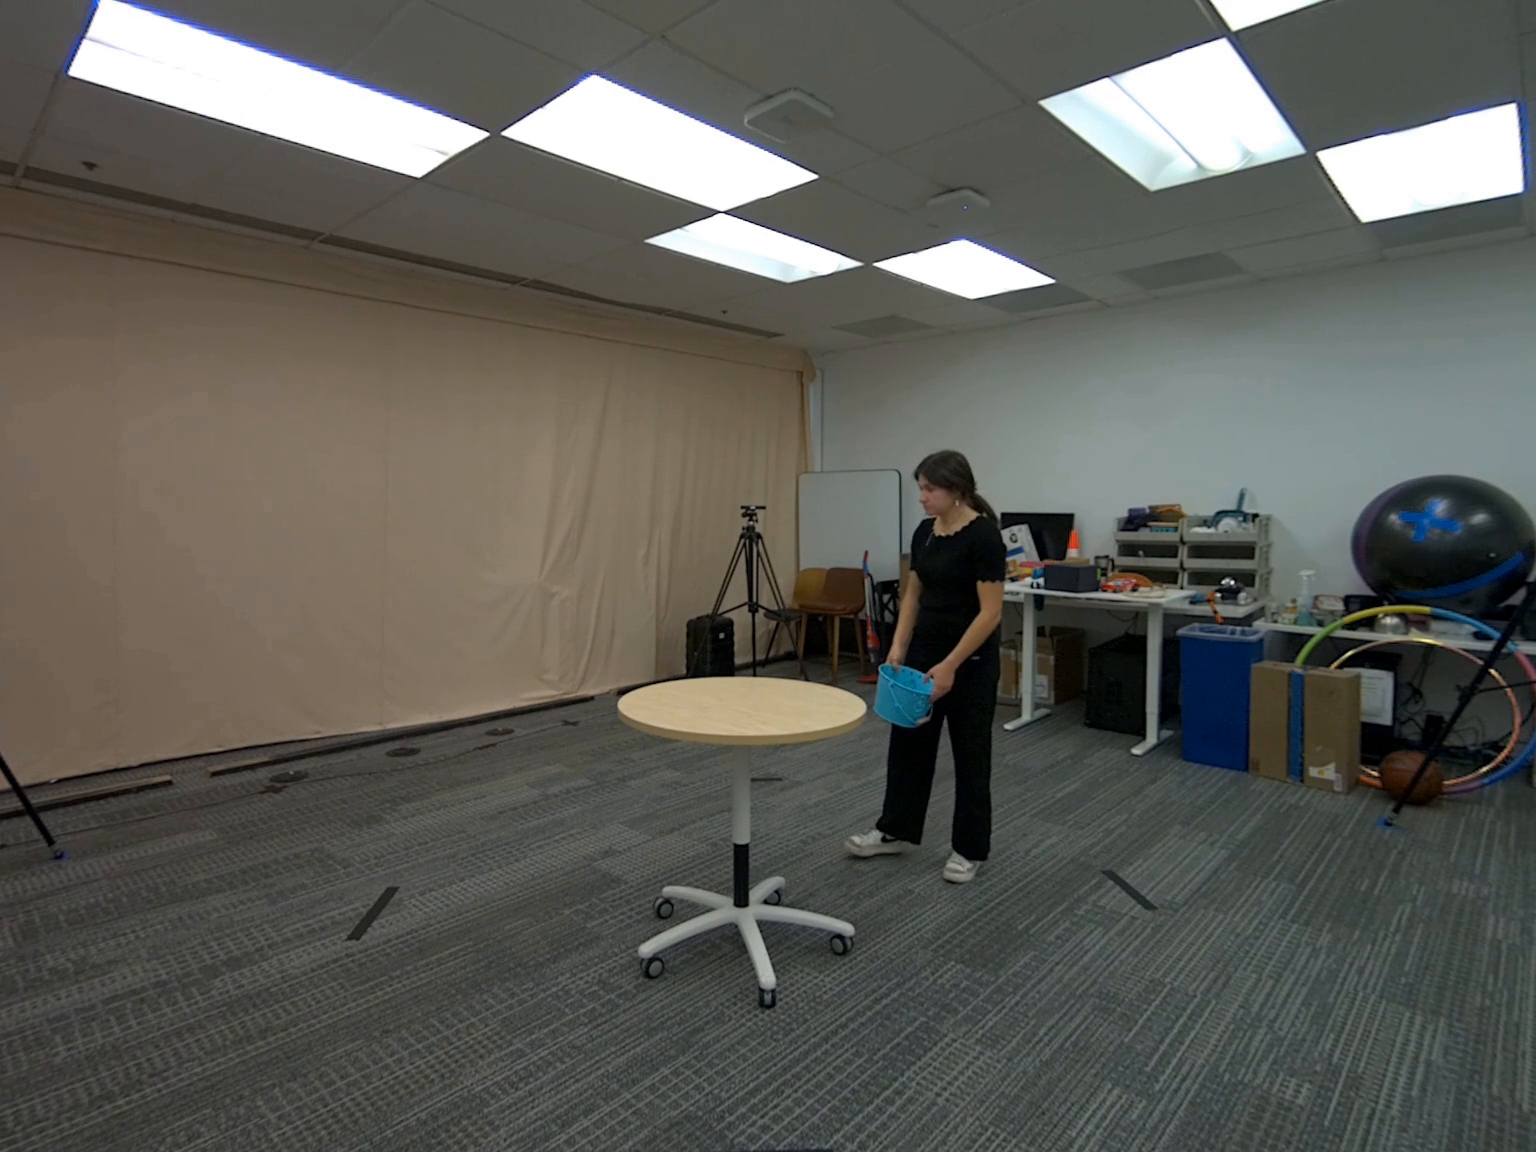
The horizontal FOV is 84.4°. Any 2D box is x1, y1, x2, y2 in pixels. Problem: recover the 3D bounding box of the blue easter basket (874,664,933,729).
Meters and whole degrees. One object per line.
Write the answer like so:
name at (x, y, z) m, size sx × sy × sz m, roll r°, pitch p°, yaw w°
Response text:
blue easter basket at (0.515, 0.450, 3.114) m, size 0.242 × 0.155 × 0.246 m, roll 12°, pitch 12°, yaw -4°
